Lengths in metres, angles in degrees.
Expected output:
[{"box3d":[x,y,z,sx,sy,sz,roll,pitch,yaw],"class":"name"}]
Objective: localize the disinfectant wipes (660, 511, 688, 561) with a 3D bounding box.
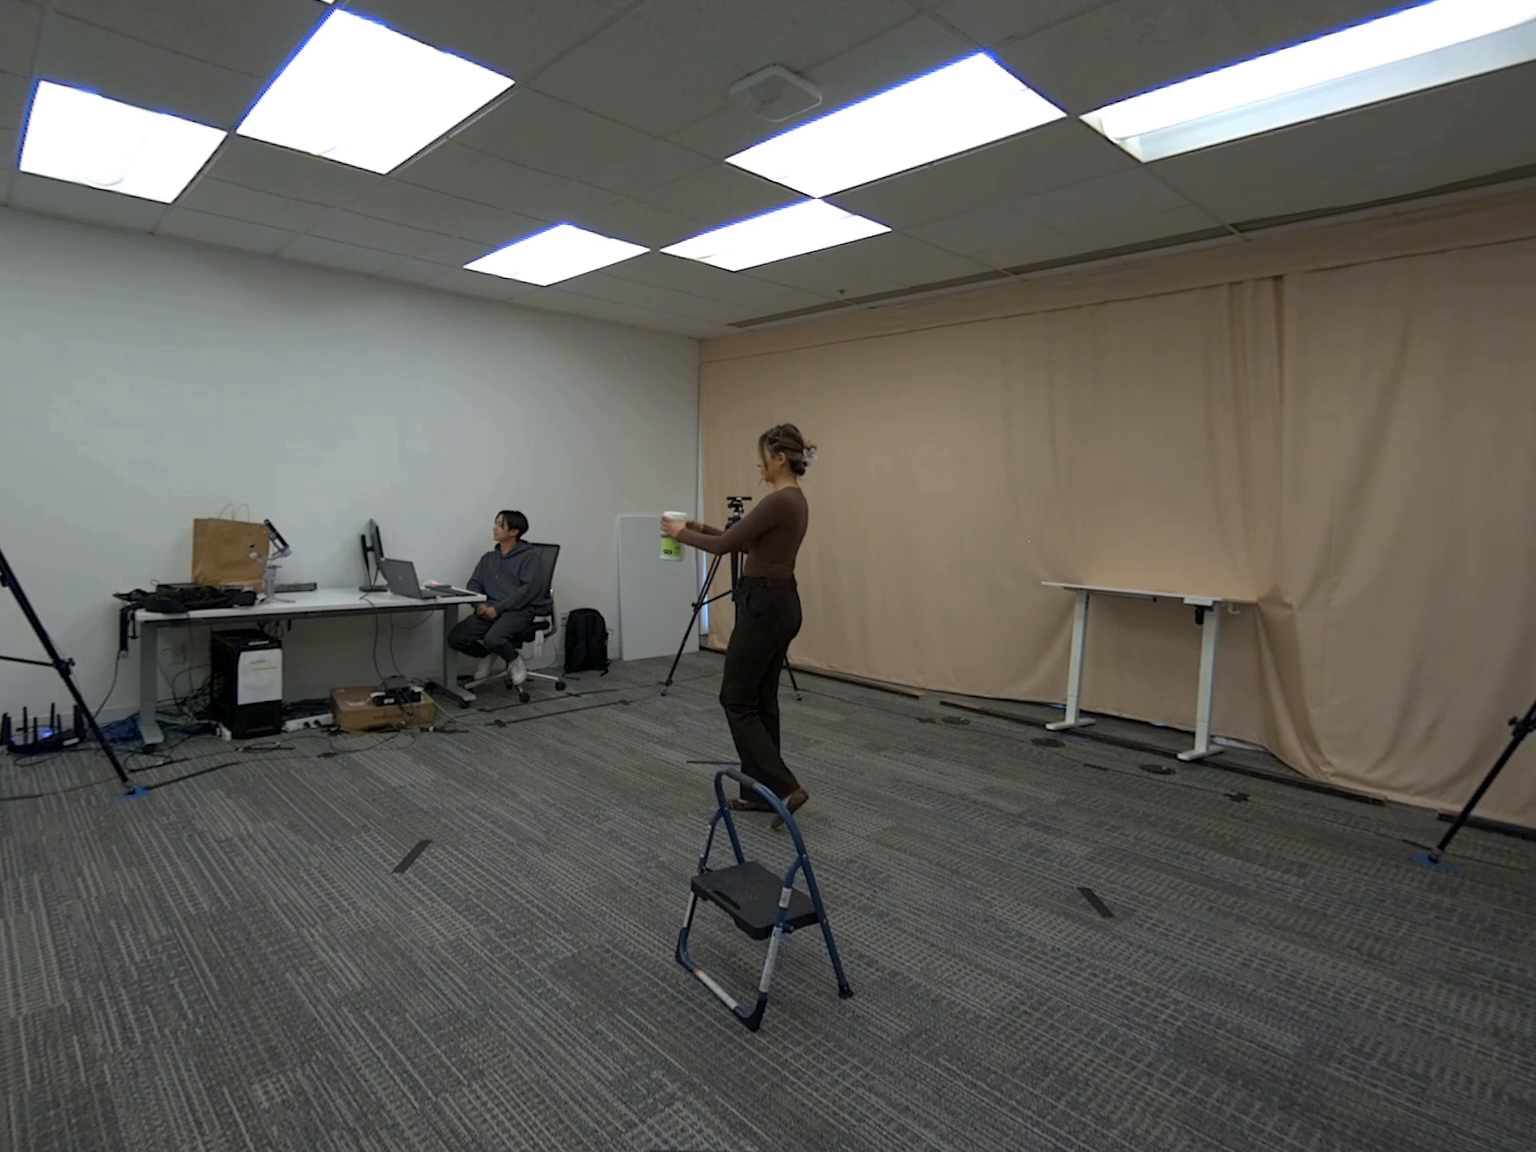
[{"box3d":[-0.426,-0.176,3.787,0.117,0.216,0.118,4,6,-2],"class":"disinfectant wipes"}]
